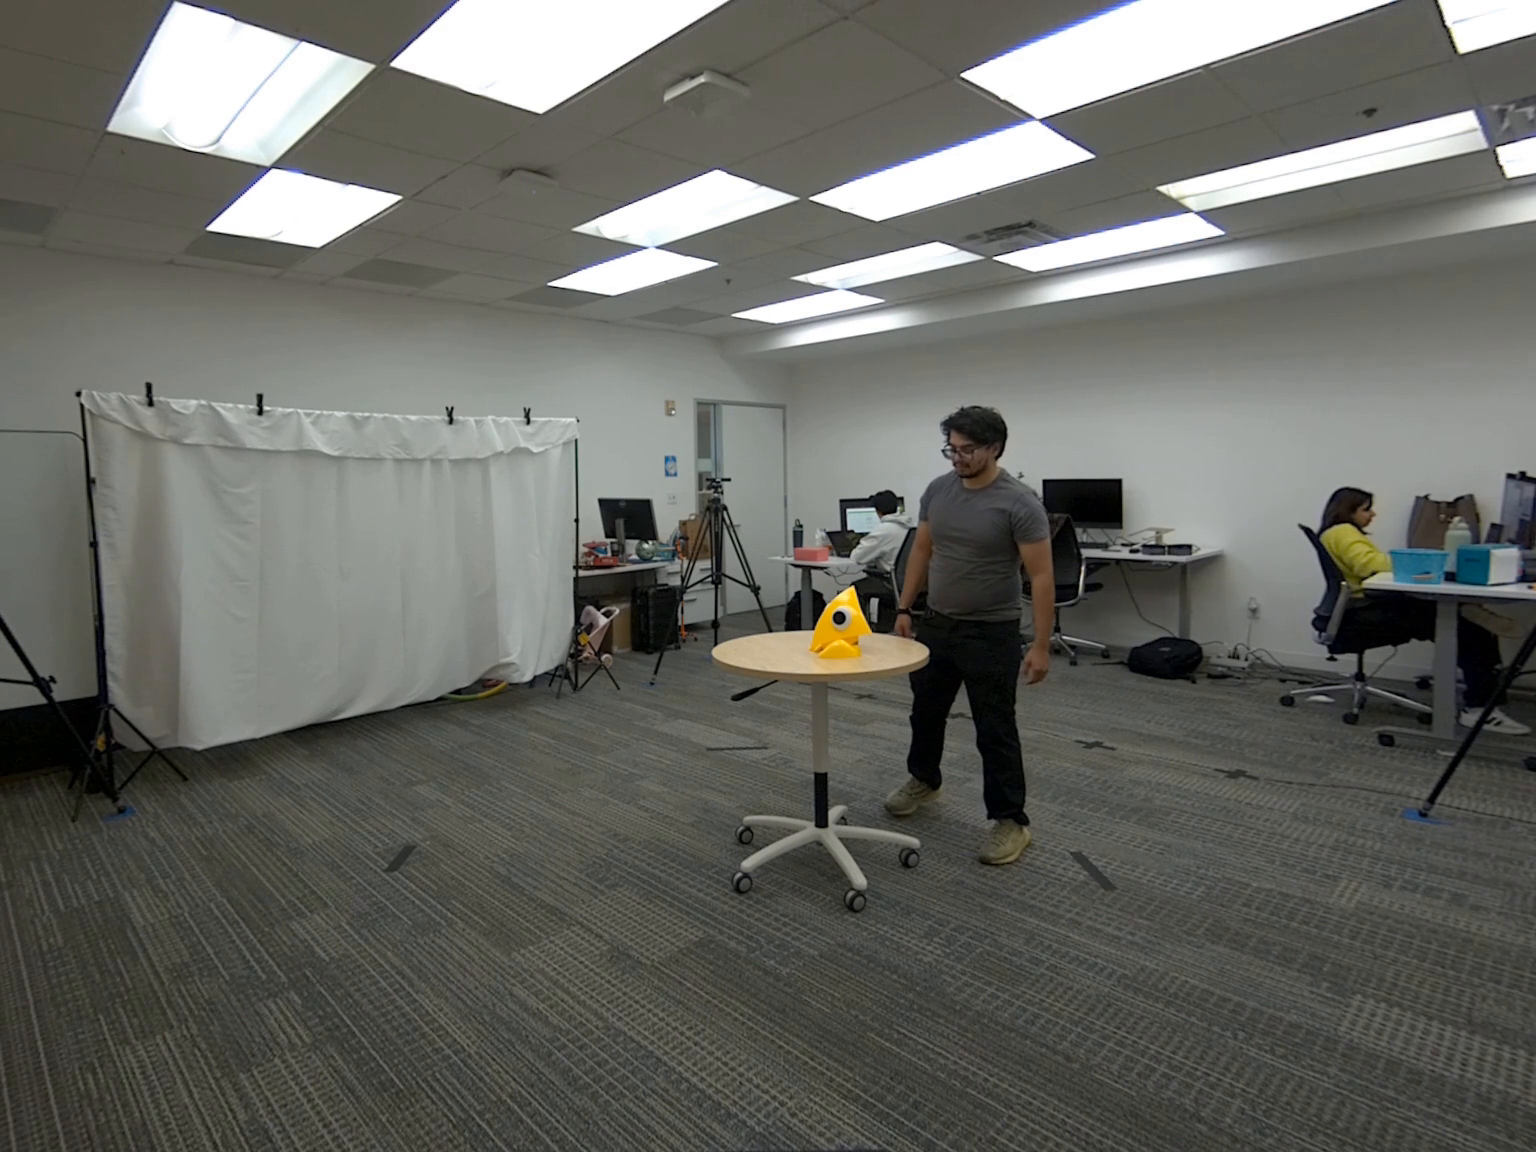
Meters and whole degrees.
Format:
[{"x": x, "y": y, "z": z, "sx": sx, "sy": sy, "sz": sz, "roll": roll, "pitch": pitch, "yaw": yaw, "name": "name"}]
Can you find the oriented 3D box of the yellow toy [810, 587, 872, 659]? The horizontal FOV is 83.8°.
[{"x": 0.244, "y": 0.152, "z": 2.982, "sx": 0.191, "sy": 0.230, "sz": 0.208, "roll": -2, "pitch": 5, "yaw": -12, "name": "yellow toy"}]
